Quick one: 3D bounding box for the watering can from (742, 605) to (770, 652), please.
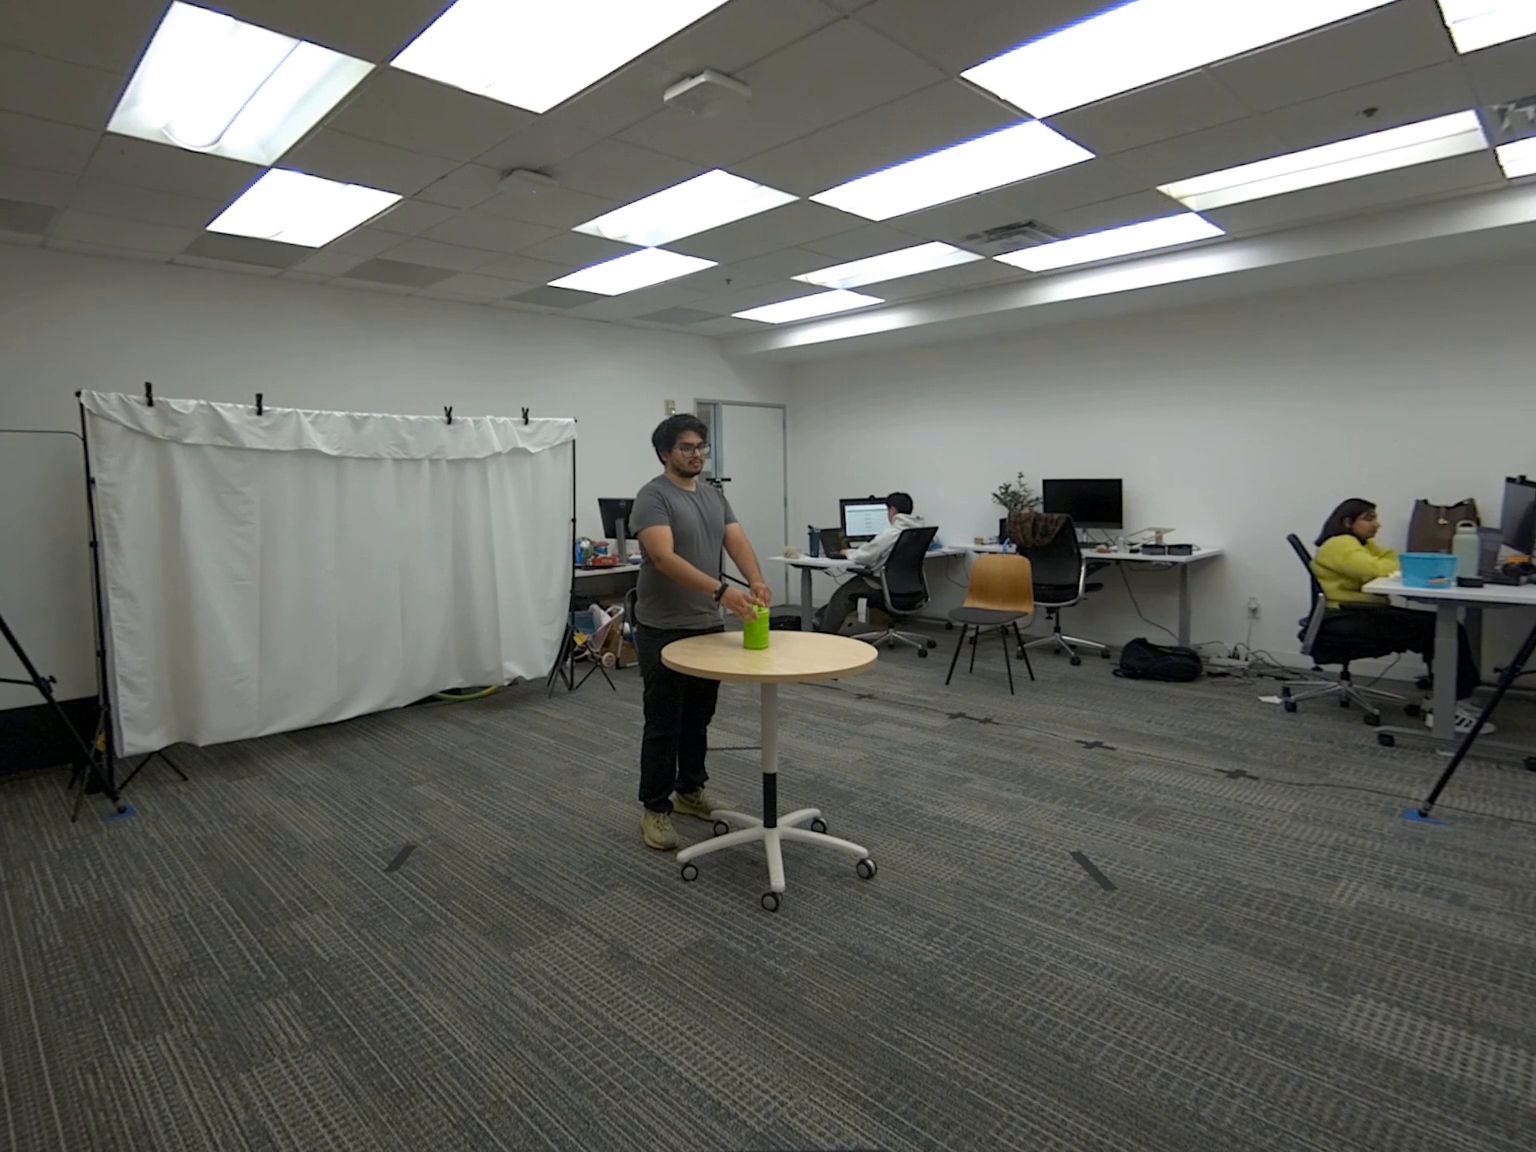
[{"bbox_3d":[-0.031,0.171,3.152,0.099,0.176,0.276,-1,7,13],"label":"watering can"}]
